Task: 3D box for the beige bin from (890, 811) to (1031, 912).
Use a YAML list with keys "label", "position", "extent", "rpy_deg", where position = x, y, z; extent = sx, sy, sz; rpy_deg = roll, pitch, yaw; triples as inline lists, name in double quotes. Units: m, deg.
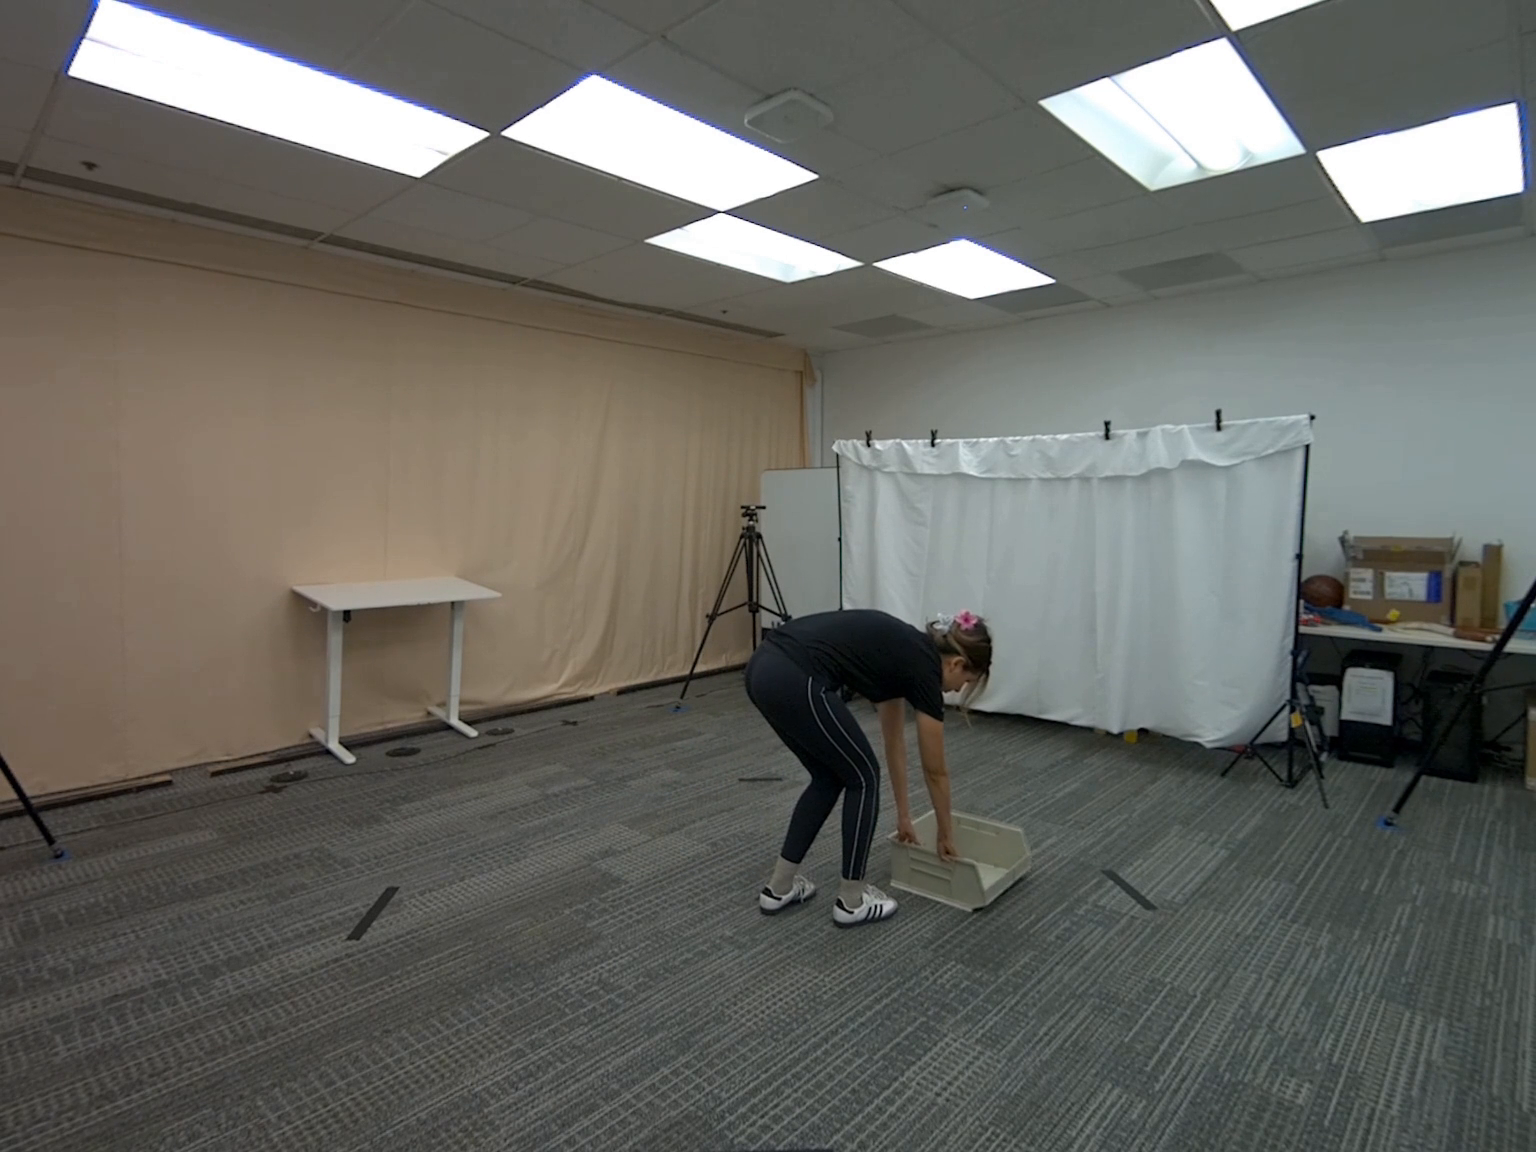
- label: "beige bin"
  position: [0.717, 1.043, 3.109]
  extent: [0.389, 0.188, 0.410]
  rpy_deg: [2, 5, 39]
